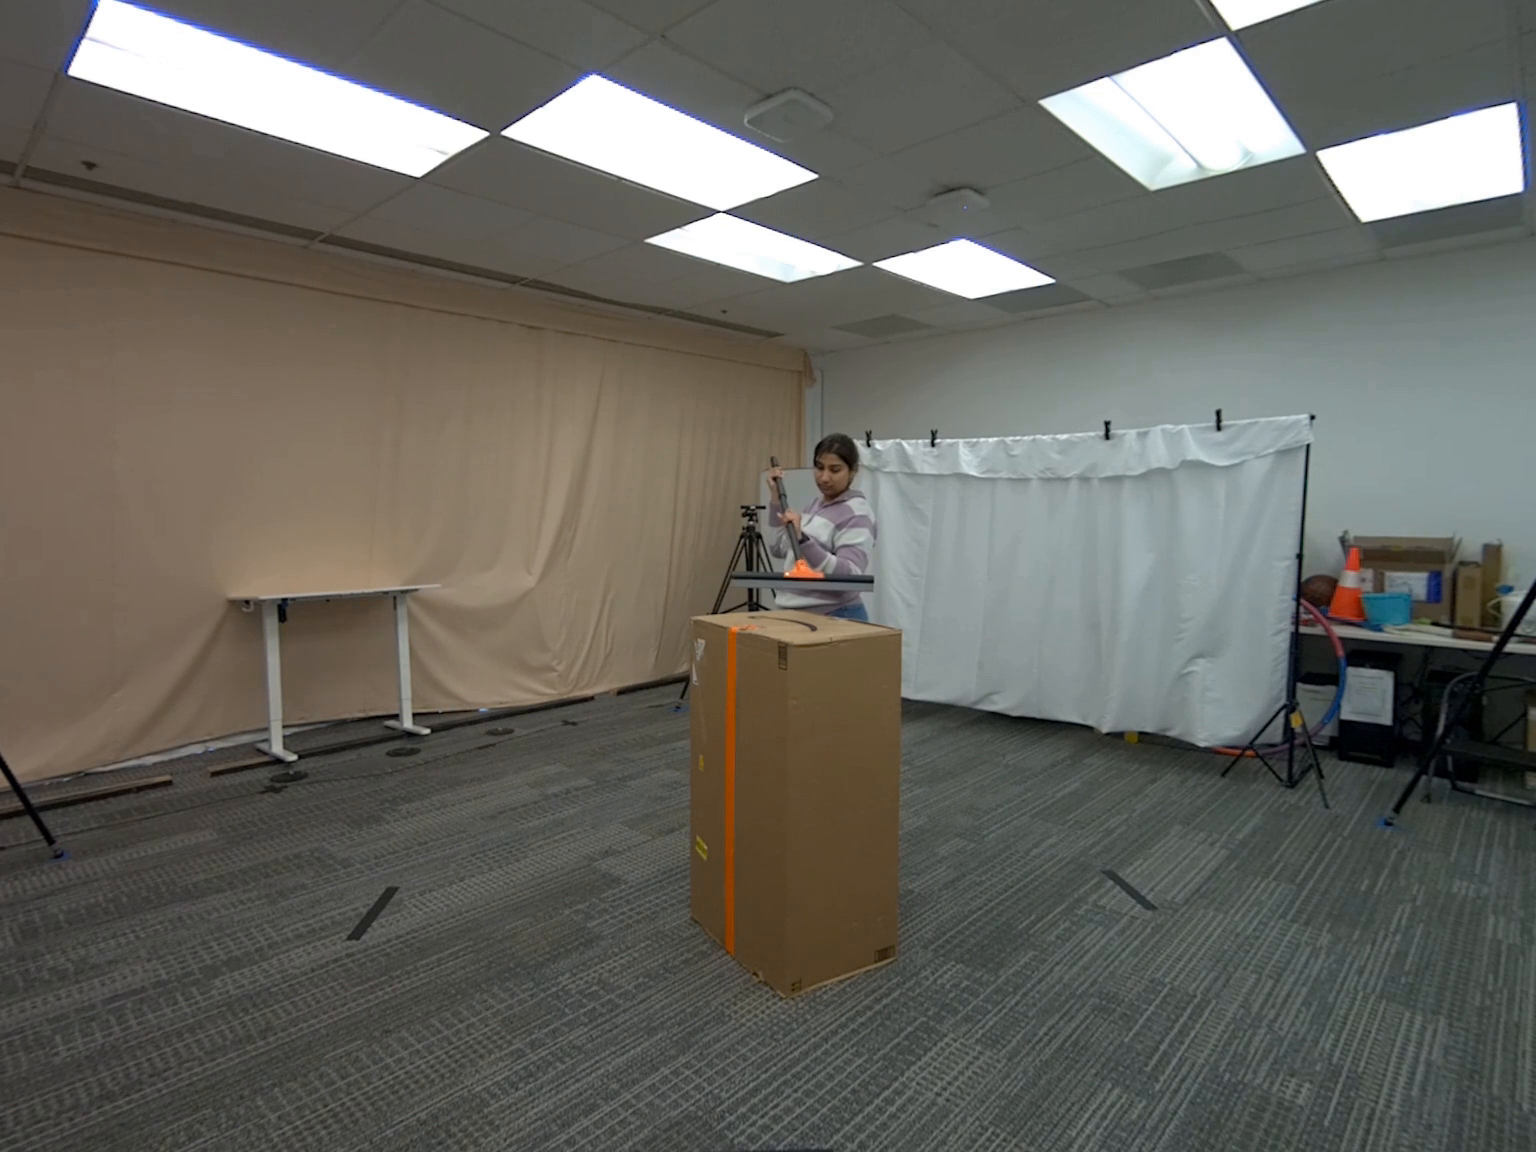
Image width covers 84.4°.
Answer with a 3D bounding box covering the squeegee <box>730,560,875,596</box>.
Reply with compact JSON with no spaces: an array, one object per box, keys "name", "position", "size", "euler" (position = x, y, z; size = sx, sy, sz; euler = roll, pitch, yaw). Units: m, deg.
[{"name":"squeegee","position":[0.063,-0.270,3.264],"size":[0.434,0.052,1.560],"euler":[10,22,-8]}]
